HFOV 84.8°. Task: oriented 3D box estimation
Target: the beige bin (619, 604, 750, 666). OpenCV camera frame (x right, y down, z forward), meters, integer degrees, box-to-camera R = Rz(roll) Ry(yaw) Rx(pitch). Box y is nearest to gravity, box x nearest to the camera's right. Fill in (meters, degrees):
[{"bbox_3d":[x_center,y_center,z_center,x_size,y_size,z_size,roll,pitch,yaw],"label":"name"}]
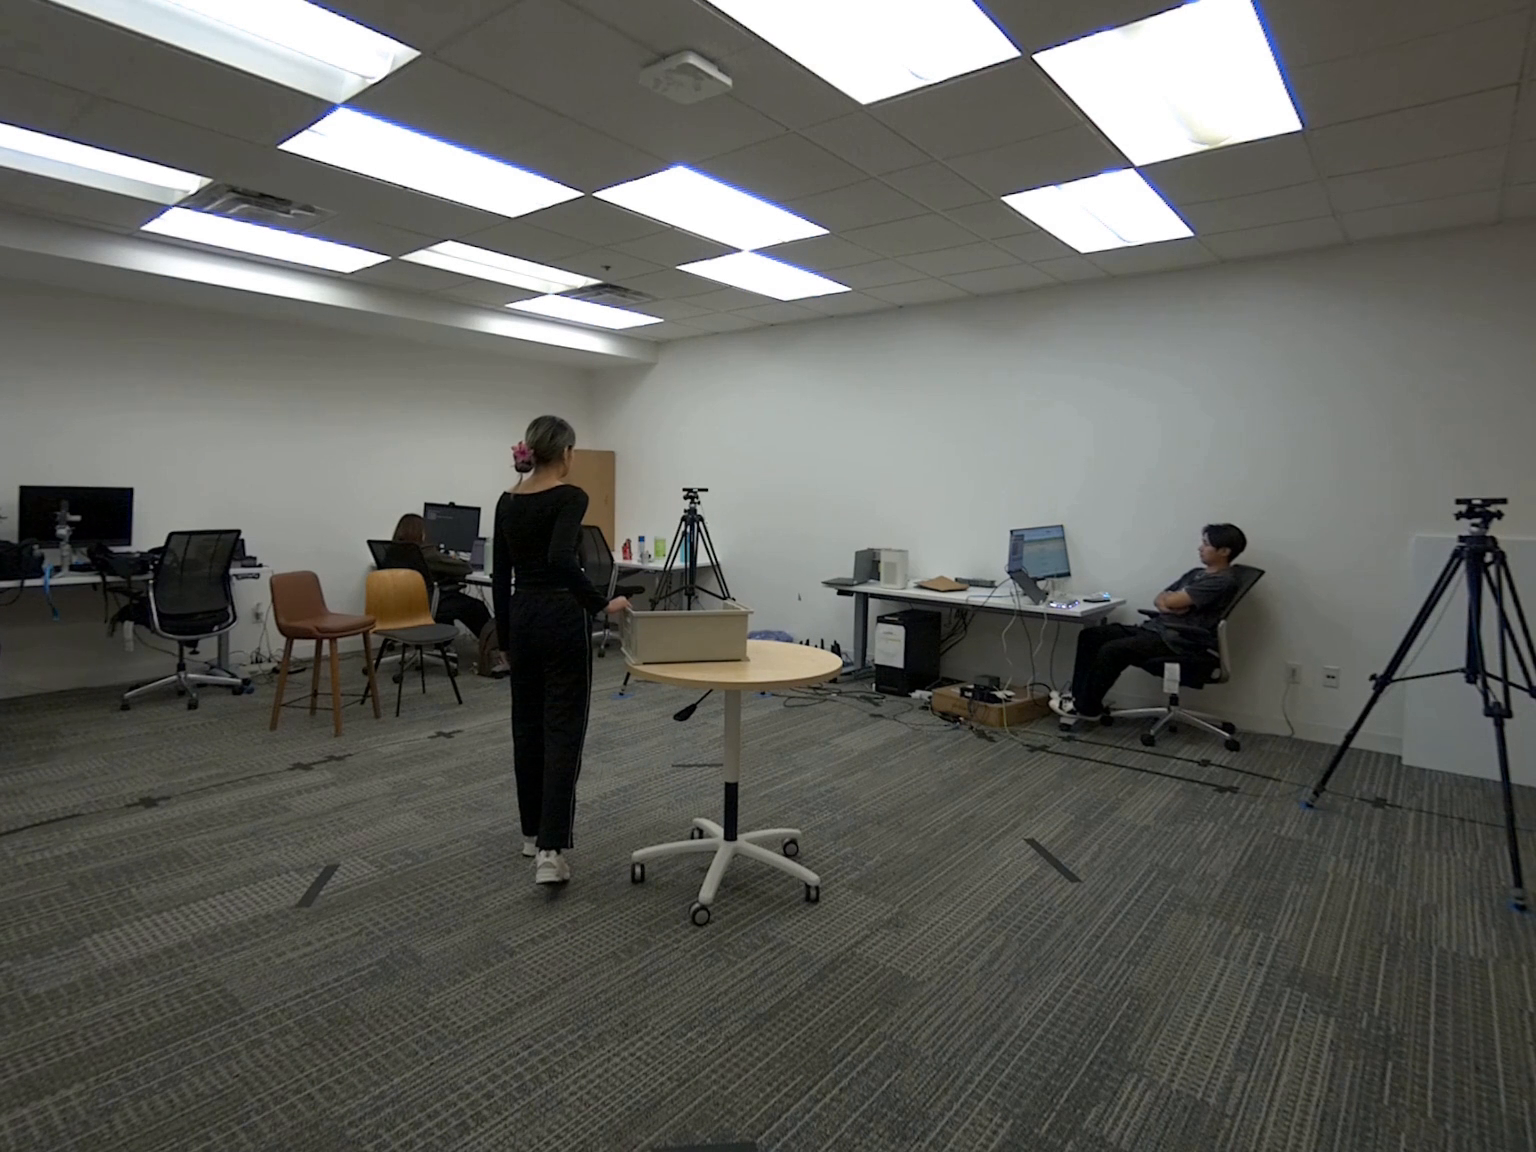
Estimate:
[{"bbox_3d":[-0.320,0.188,3.076,0.415,0.188,0.385,-2,5,-17],"label":"beige bin"}]
